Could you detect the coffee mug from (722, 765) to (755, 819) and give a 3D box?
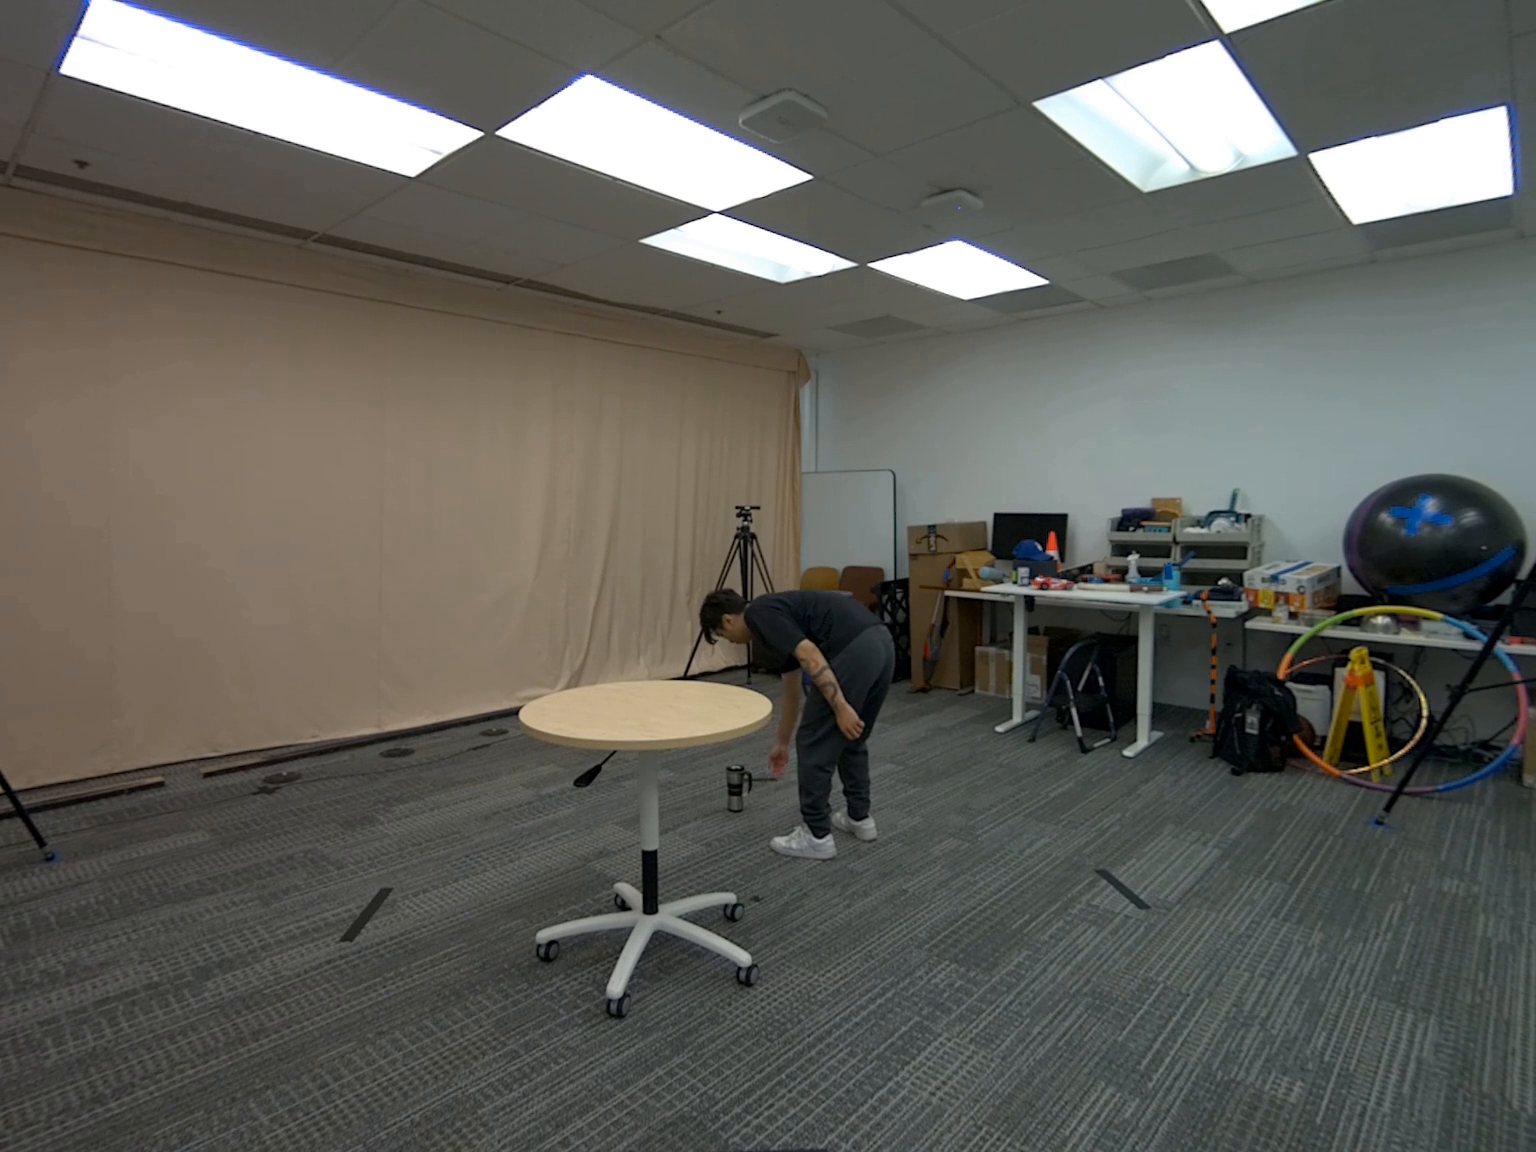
[{"bbox_3d":[-0.138,0.975,3.842,0.085,0.203,0.126,2,-2,-39],"label":"coffee mug"}]
